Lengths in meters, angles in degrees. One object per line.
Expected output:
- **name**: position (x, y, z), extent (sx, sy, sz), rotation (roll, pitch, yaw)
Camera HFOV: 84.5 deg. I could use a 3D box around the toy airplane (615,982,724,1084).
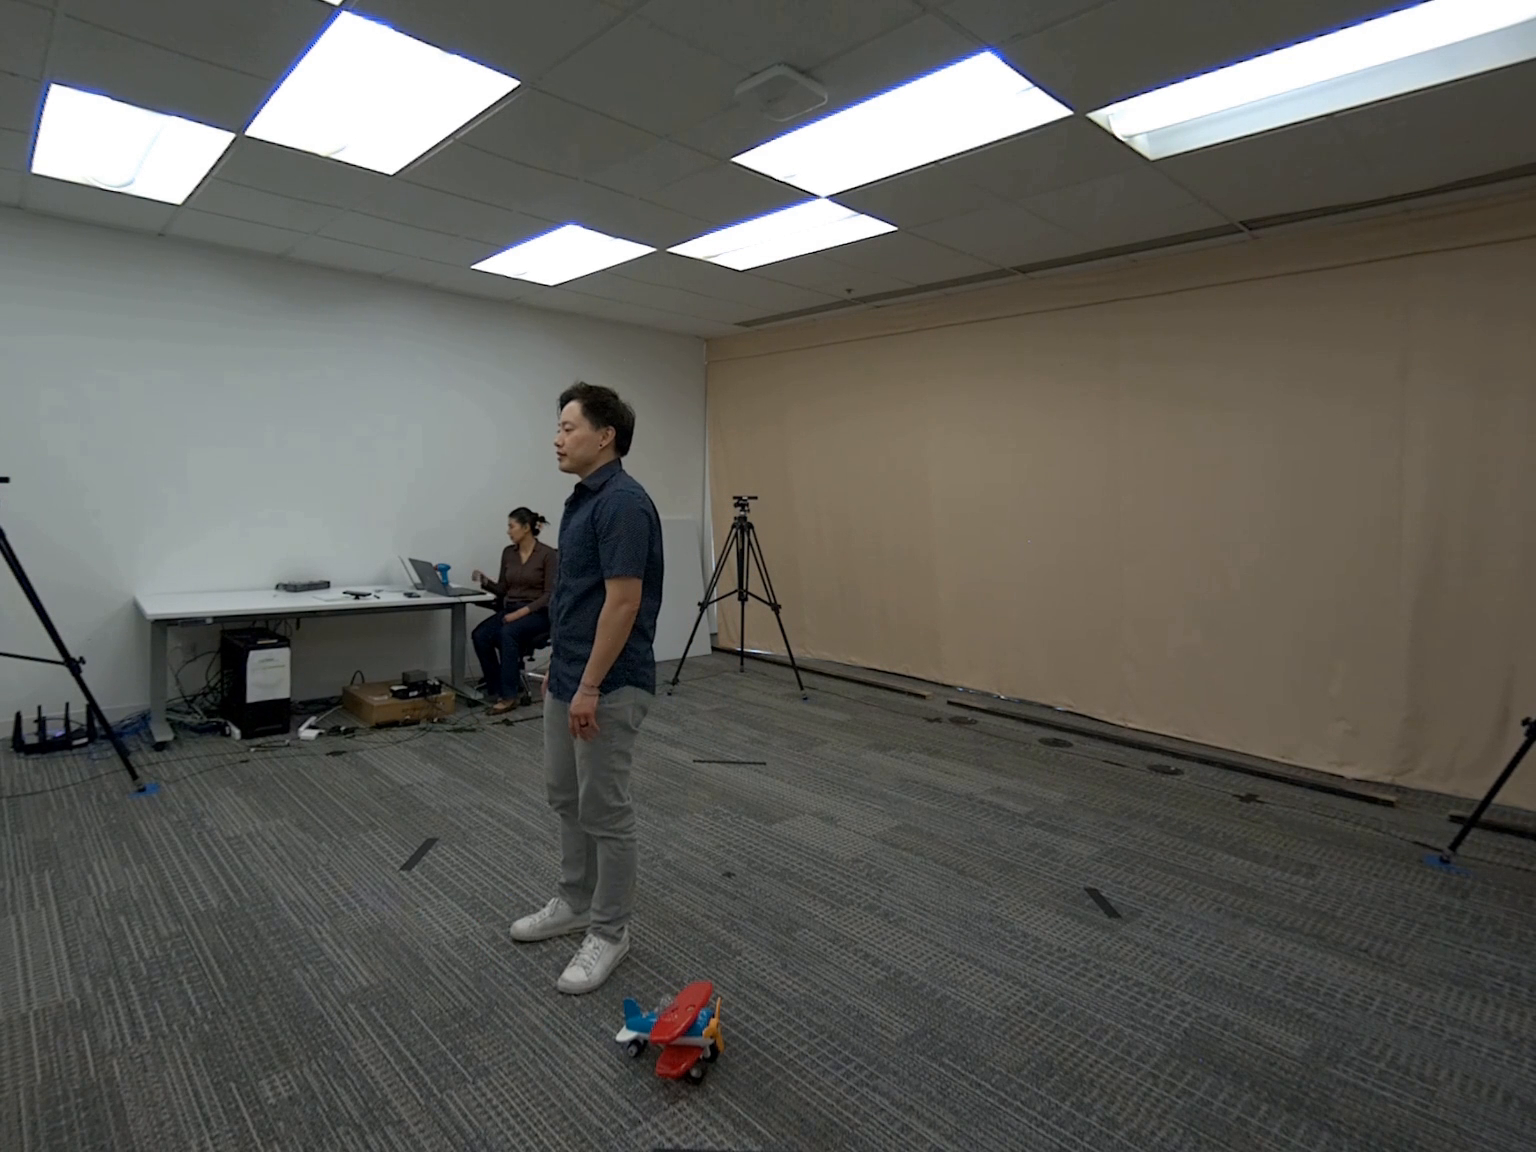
- **toy airplane**: position (-0.245, 1.126, 2.046), extent (0.258, 0.156, 0.253), rotation (2, 5, -8)
